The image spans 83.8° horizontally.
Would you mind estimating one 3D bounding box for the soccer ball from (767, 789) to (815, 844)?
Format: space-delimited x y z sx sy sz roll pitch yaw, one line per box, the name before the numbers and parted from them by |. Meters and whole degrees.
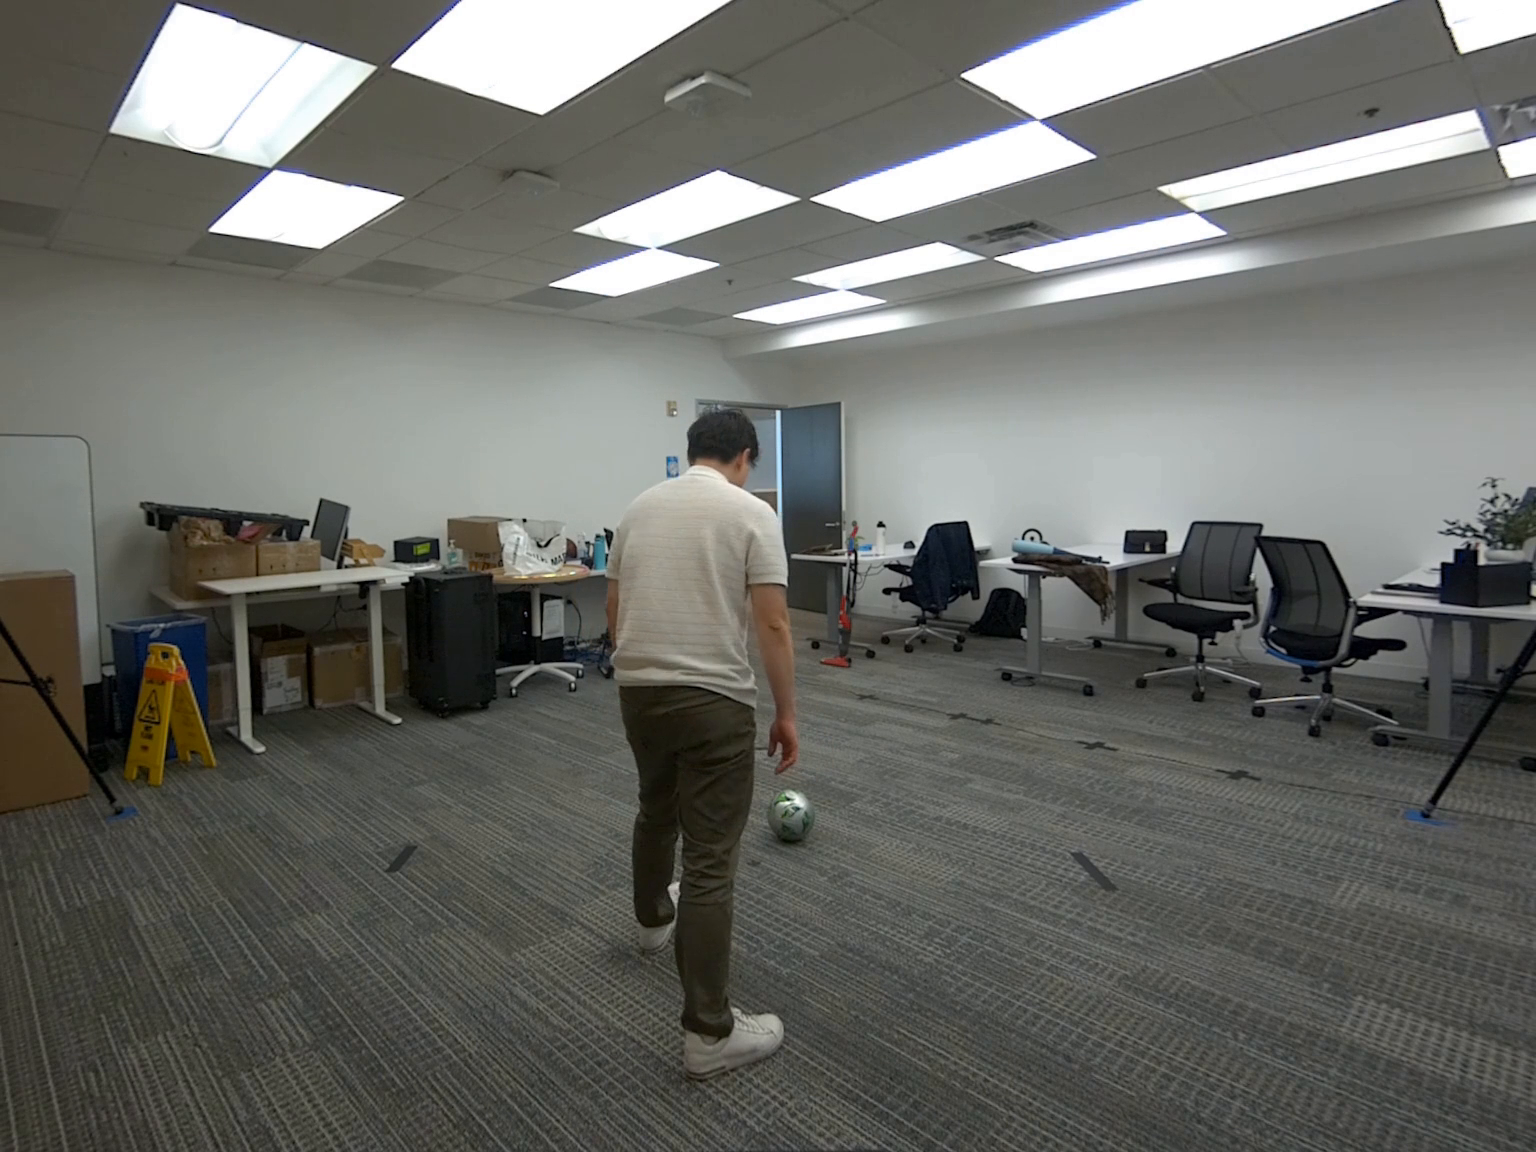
soccer ball | 0.087 0.920 3.310 0.187 0.187 0.188 -1 5 -2
